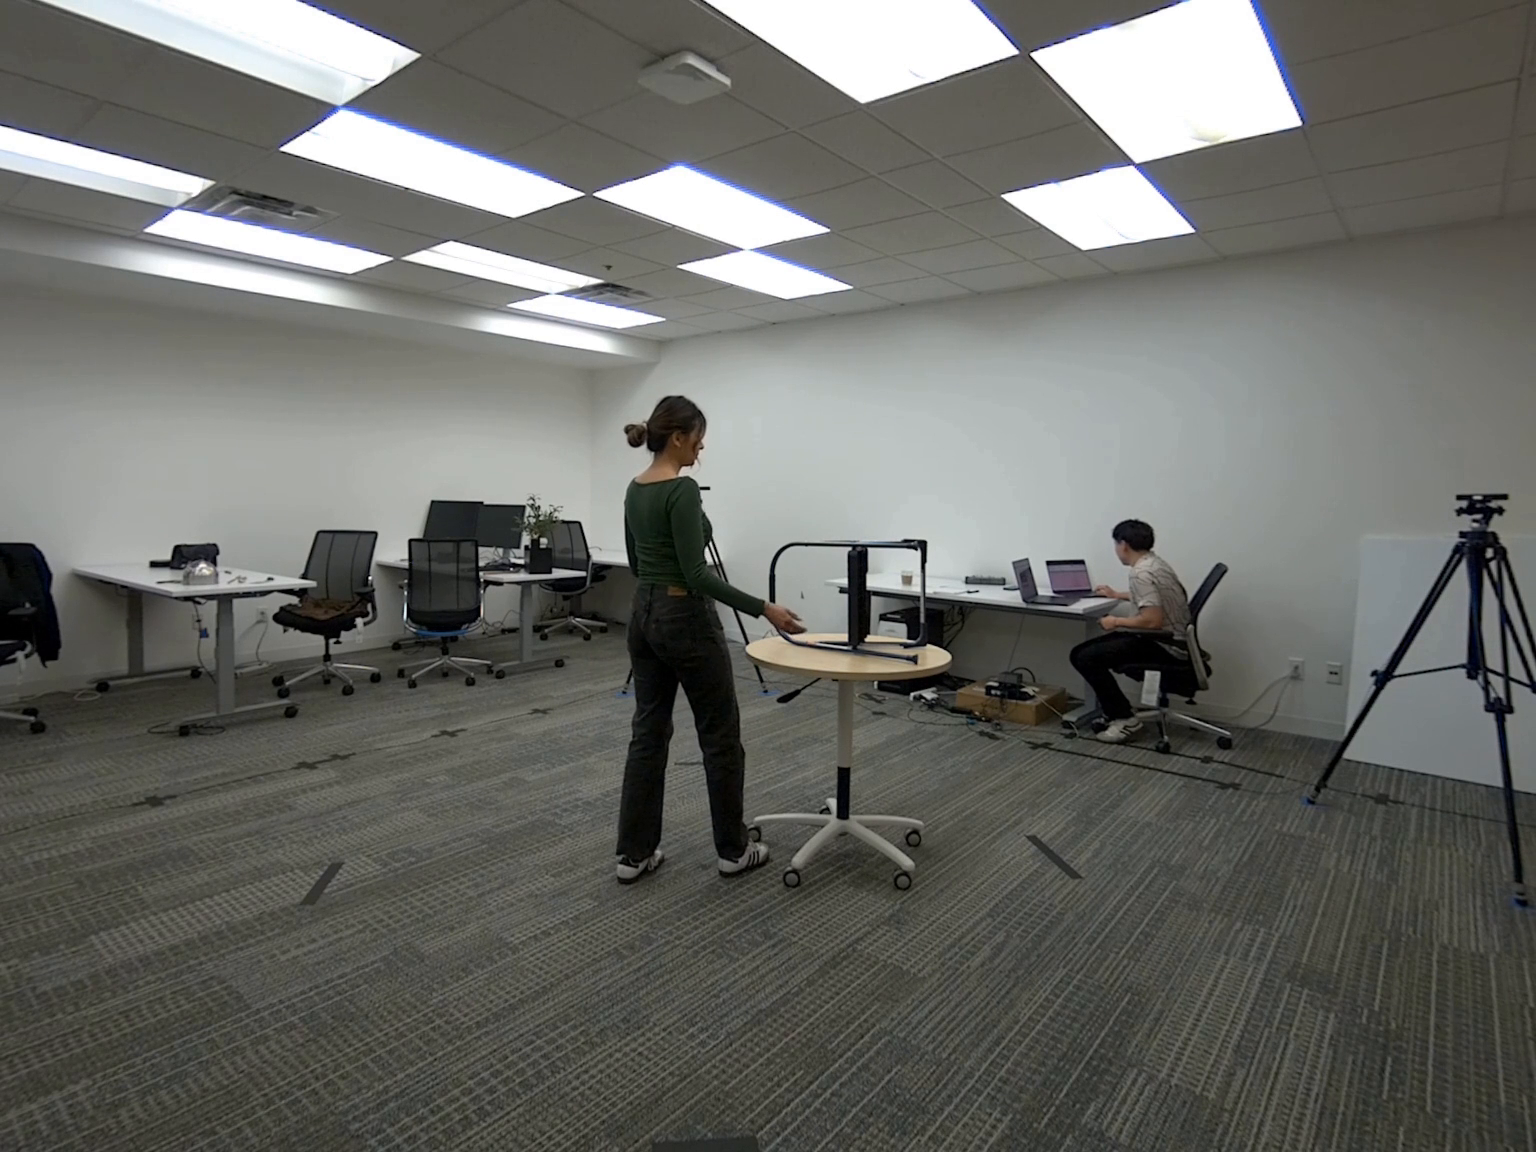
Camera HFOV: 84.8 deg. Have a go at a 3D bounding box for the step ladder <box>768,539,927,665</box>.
[{"bbox_3d":[0.272,0.072,3.214,0.618,0.430,0.343,1,2,19],"label":"step ladder"}]
